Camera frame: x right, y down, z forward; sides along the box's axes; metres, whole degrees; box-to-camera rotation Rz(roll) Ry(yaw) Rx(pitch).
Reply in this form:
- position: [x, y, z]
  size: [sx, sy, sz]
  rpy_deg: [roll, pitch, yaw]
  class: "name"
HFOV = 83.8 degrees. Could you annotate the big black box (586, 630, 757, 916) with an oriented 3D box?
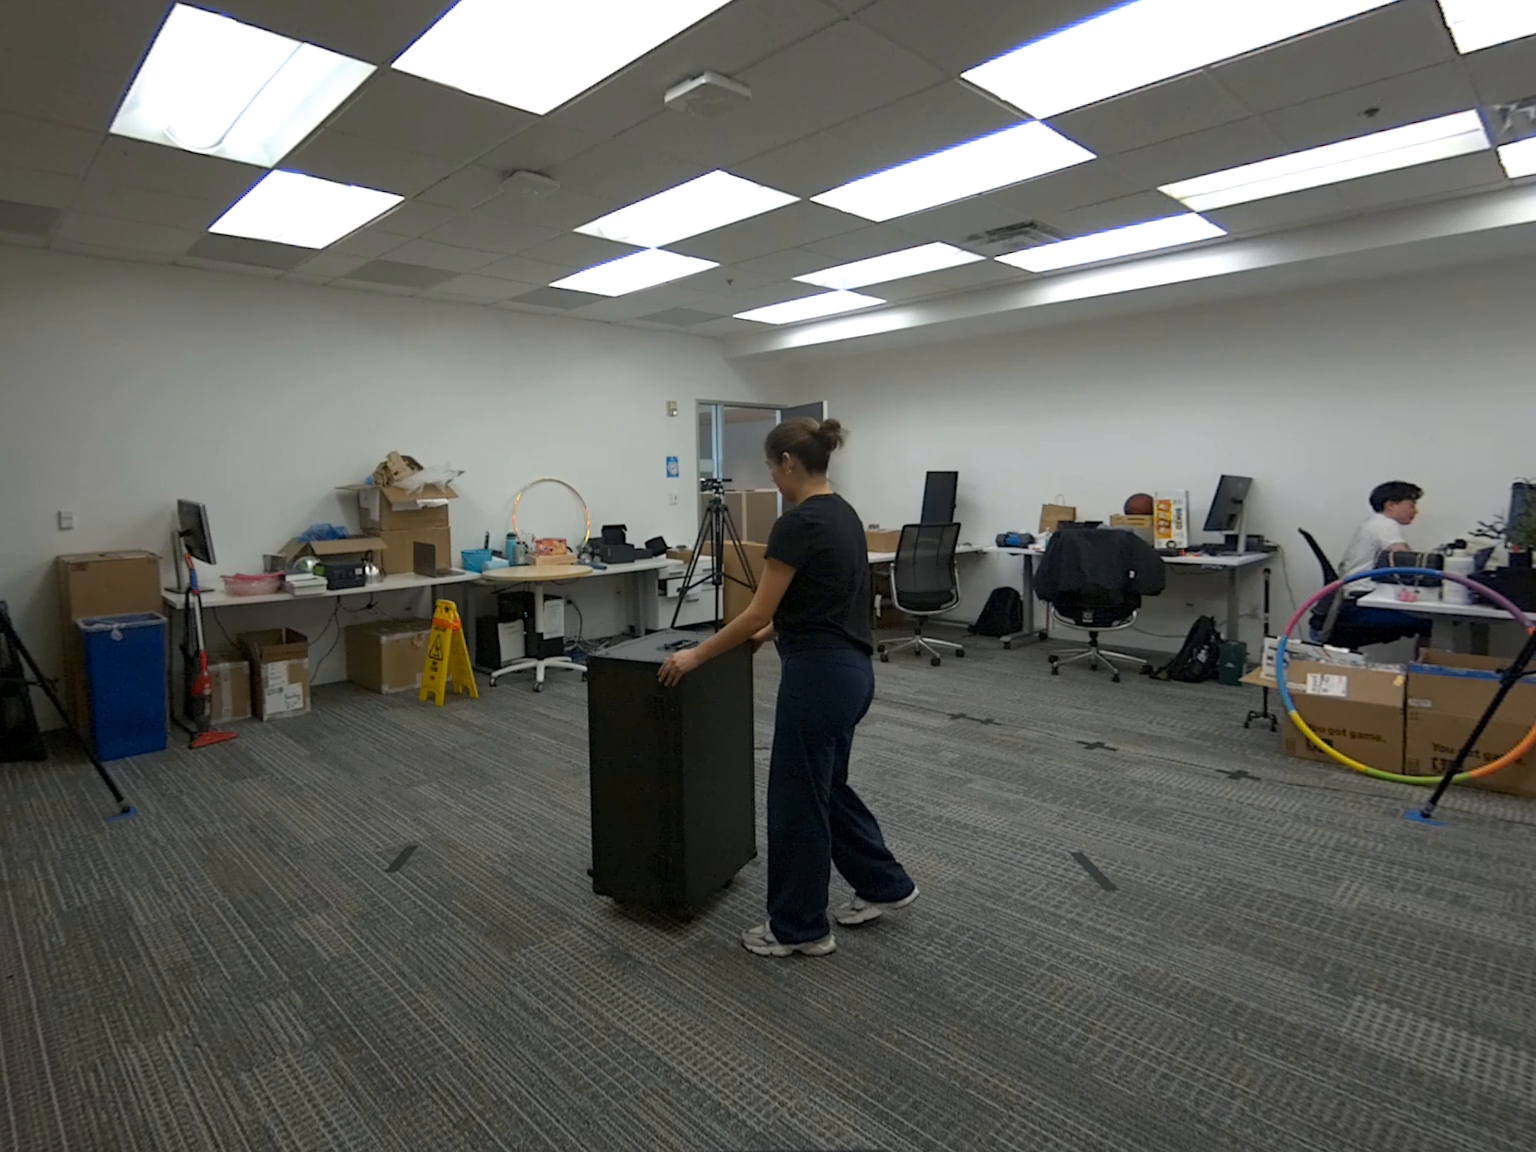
- position: [-0.319, 0.649, 2.867]
  size: [0.406, 0.858, 0.510]
  rpy_deg: [1, 5, 28]
  class: "big black box"
